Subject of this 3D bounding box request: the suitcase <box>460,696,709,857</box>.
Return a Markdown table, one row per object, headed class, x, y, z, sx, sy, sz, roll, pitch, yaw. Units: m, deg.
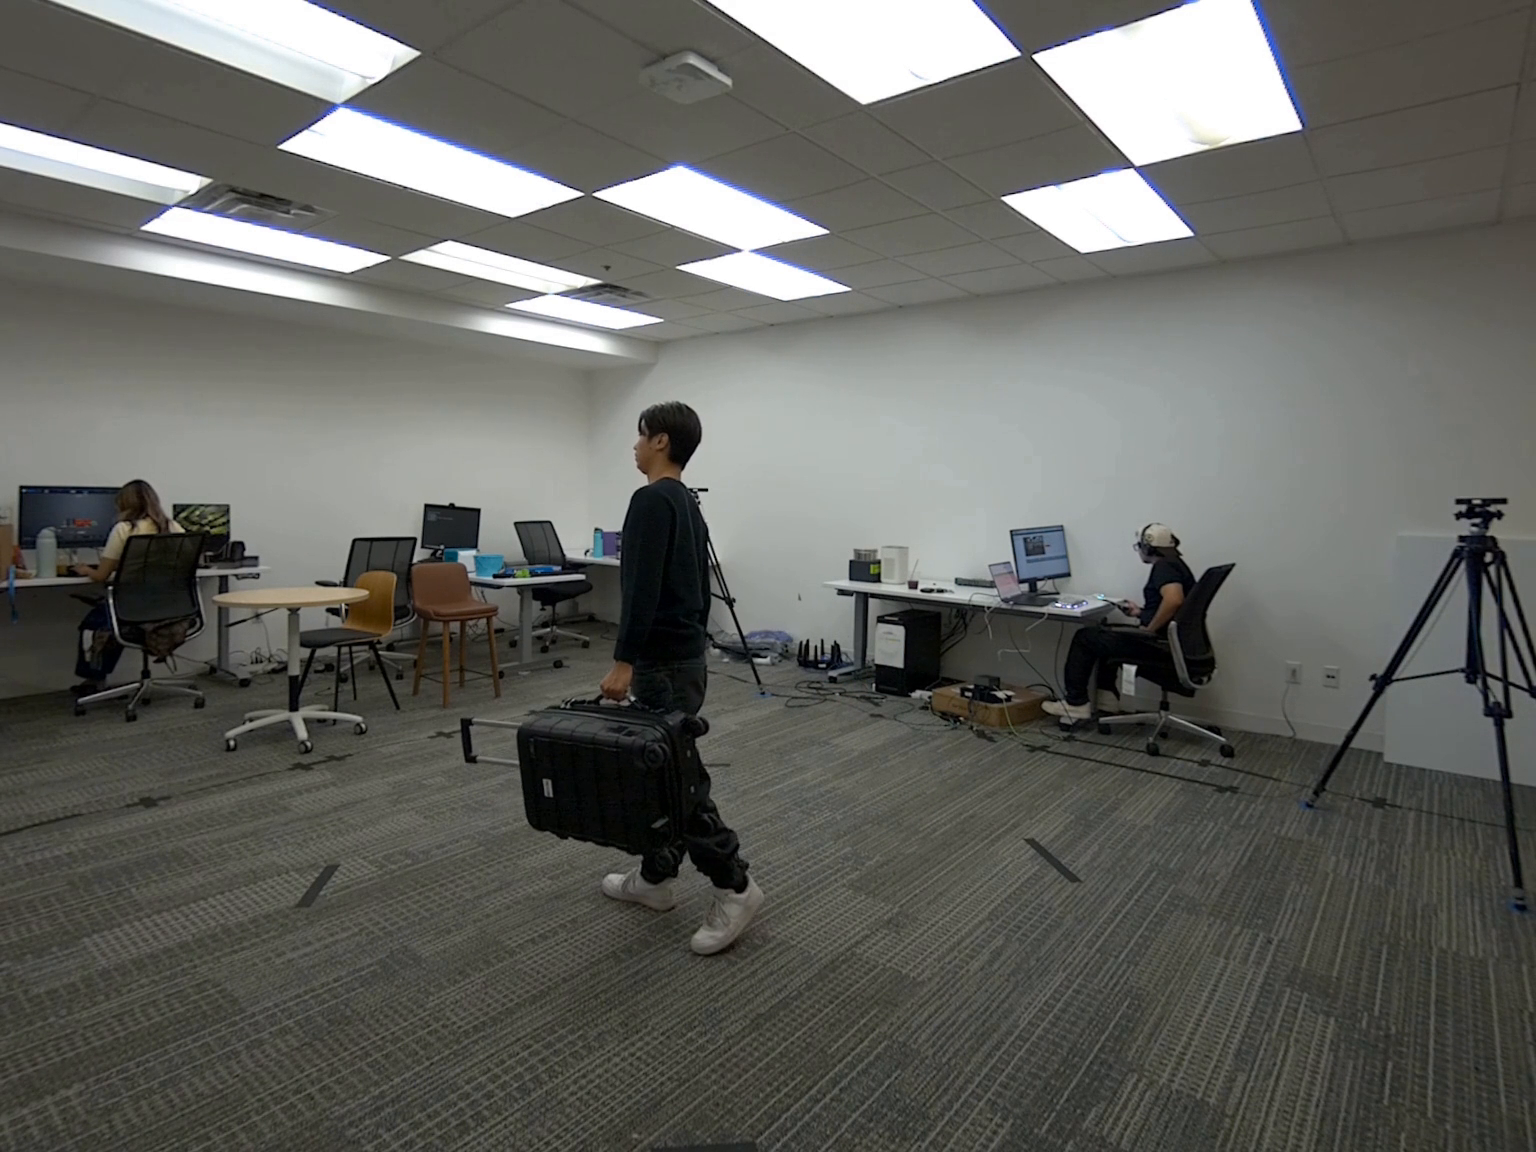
| class | x | y | z | sx | sy | sz | roll | pitch | yaw |
| --- | --- | --- | --- | --- | --- | --- | --- | --- | --- |
| suitcase | -0.644 | 0.571 | 2.556 | 1.004 | 0.381 | 0.252 | 0 | 9 | 27 |
